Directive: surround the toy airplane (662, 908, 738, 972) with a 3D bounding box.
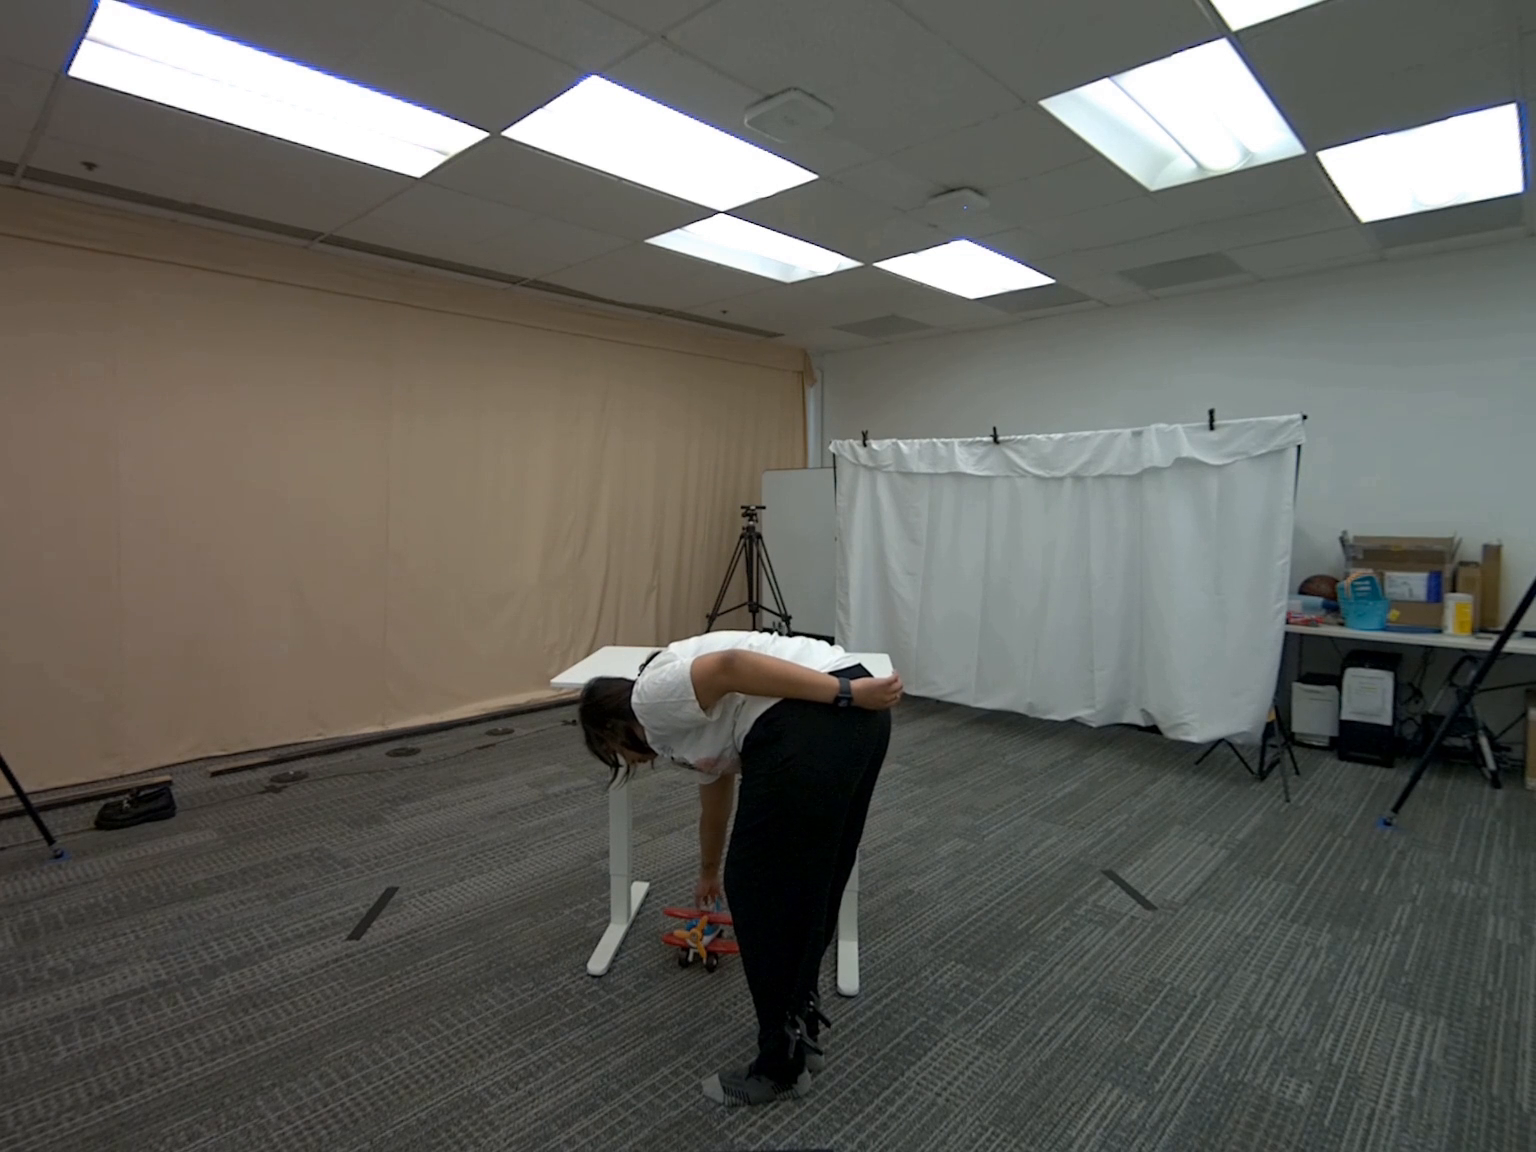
[{"bbox_3d":[-0.205,1.106,2.606,0.248,0.156,0.263,-1,6,-12],"label":"toy airplane"}]
